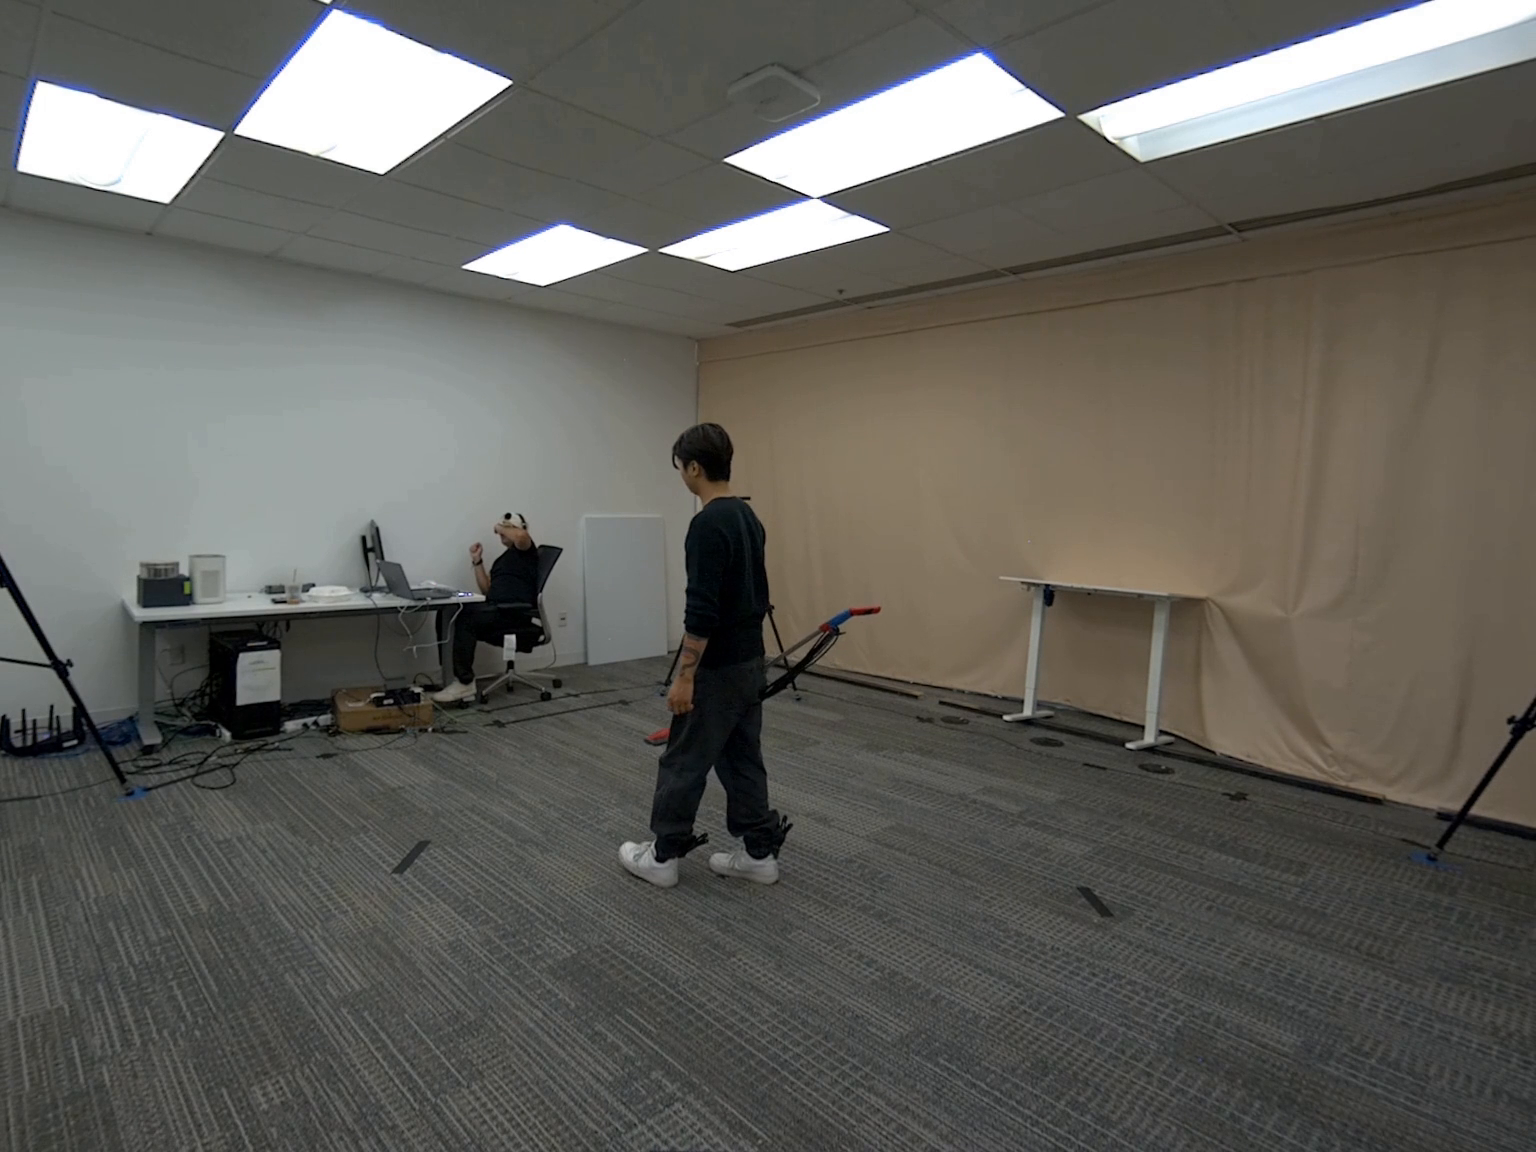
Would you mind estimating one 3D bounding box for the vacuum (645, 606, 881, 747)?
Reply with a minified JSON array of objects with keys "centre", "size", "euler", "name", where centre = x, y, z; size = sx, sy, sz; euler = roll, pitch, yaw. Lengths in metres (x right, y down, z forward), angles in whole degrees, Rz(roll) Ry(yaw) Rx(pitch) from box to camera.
[{"centre":[-0.015,0.399,3.244],"size":[1.053,0.146,0.248],"euler":[-36,-11,23],"name":"vacuum"}]
